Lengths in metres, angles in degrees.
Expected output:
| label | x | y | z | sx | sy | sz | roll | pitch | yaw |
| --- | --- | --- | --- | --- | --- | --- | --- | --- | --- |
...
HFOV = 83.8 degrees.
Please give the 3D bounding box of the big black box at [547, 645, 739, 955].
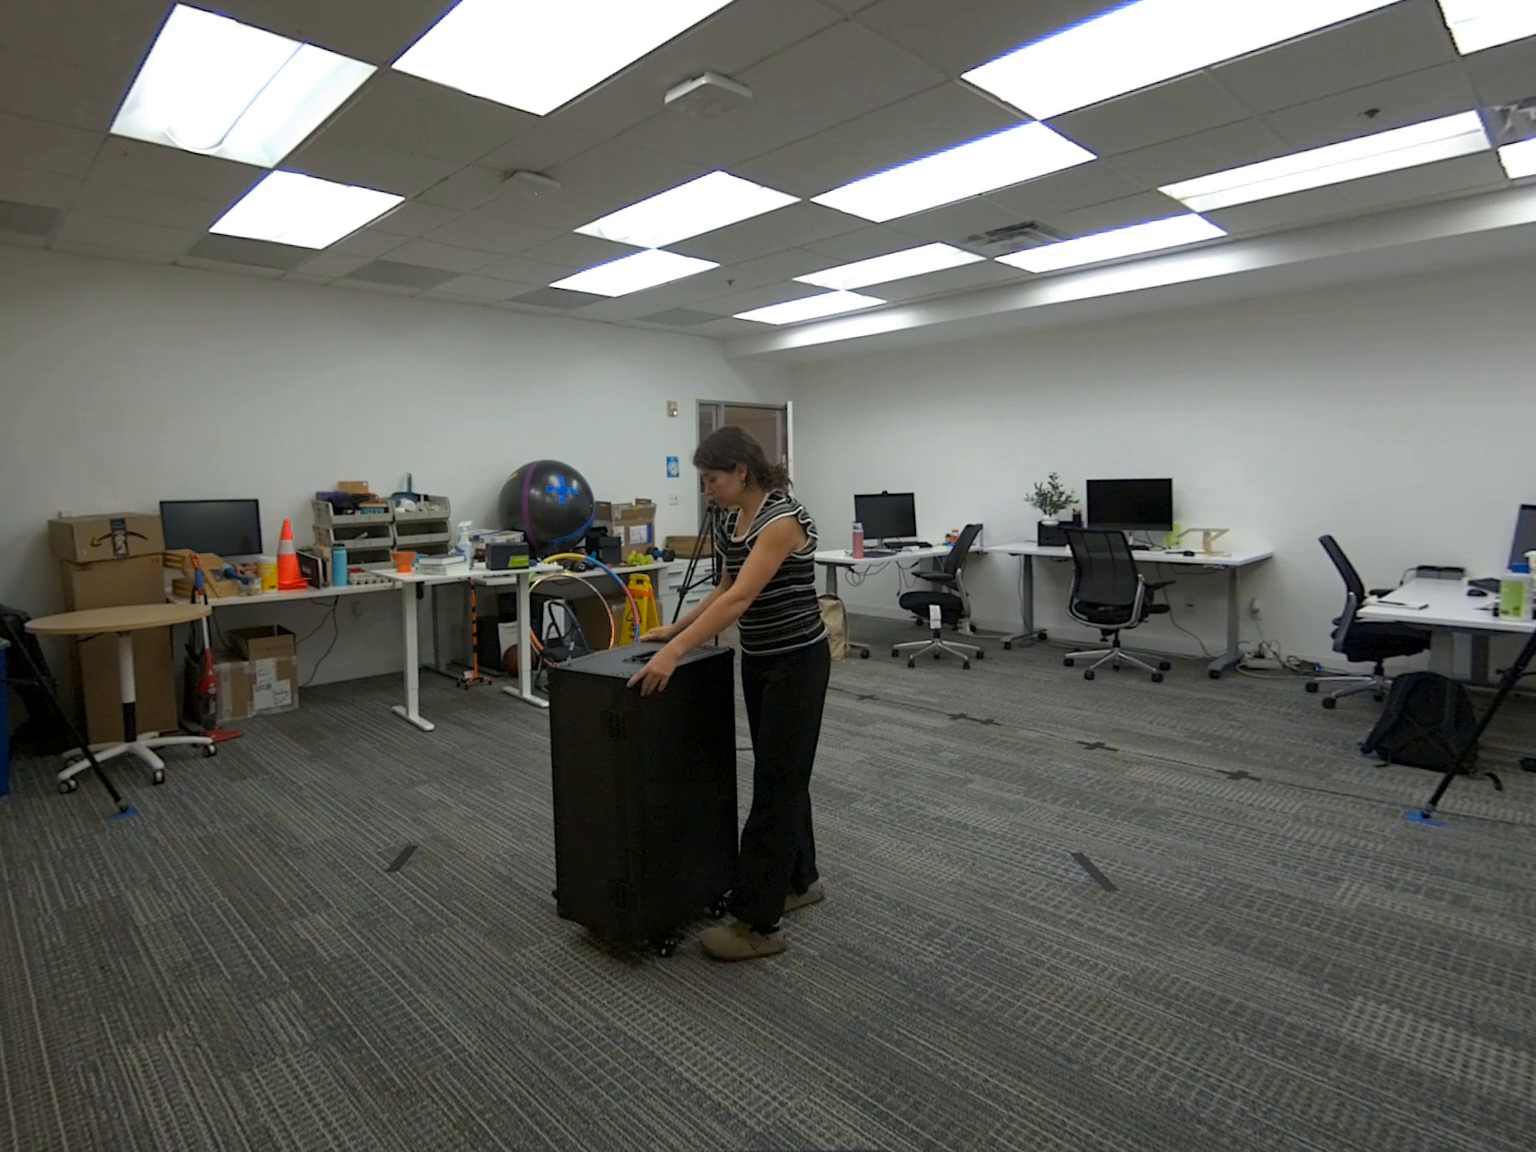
| label | x | y | z | sx | sy | sz | roll | pitch | yaw |
| --- | --- | --- | --- | --- | --- | --- | --- | --- | --- |
| big black box | -0.390 | 0.678 | 2.687 | 0.407 | 0.859 | 0.509 | 0 | 4 | 34 |
